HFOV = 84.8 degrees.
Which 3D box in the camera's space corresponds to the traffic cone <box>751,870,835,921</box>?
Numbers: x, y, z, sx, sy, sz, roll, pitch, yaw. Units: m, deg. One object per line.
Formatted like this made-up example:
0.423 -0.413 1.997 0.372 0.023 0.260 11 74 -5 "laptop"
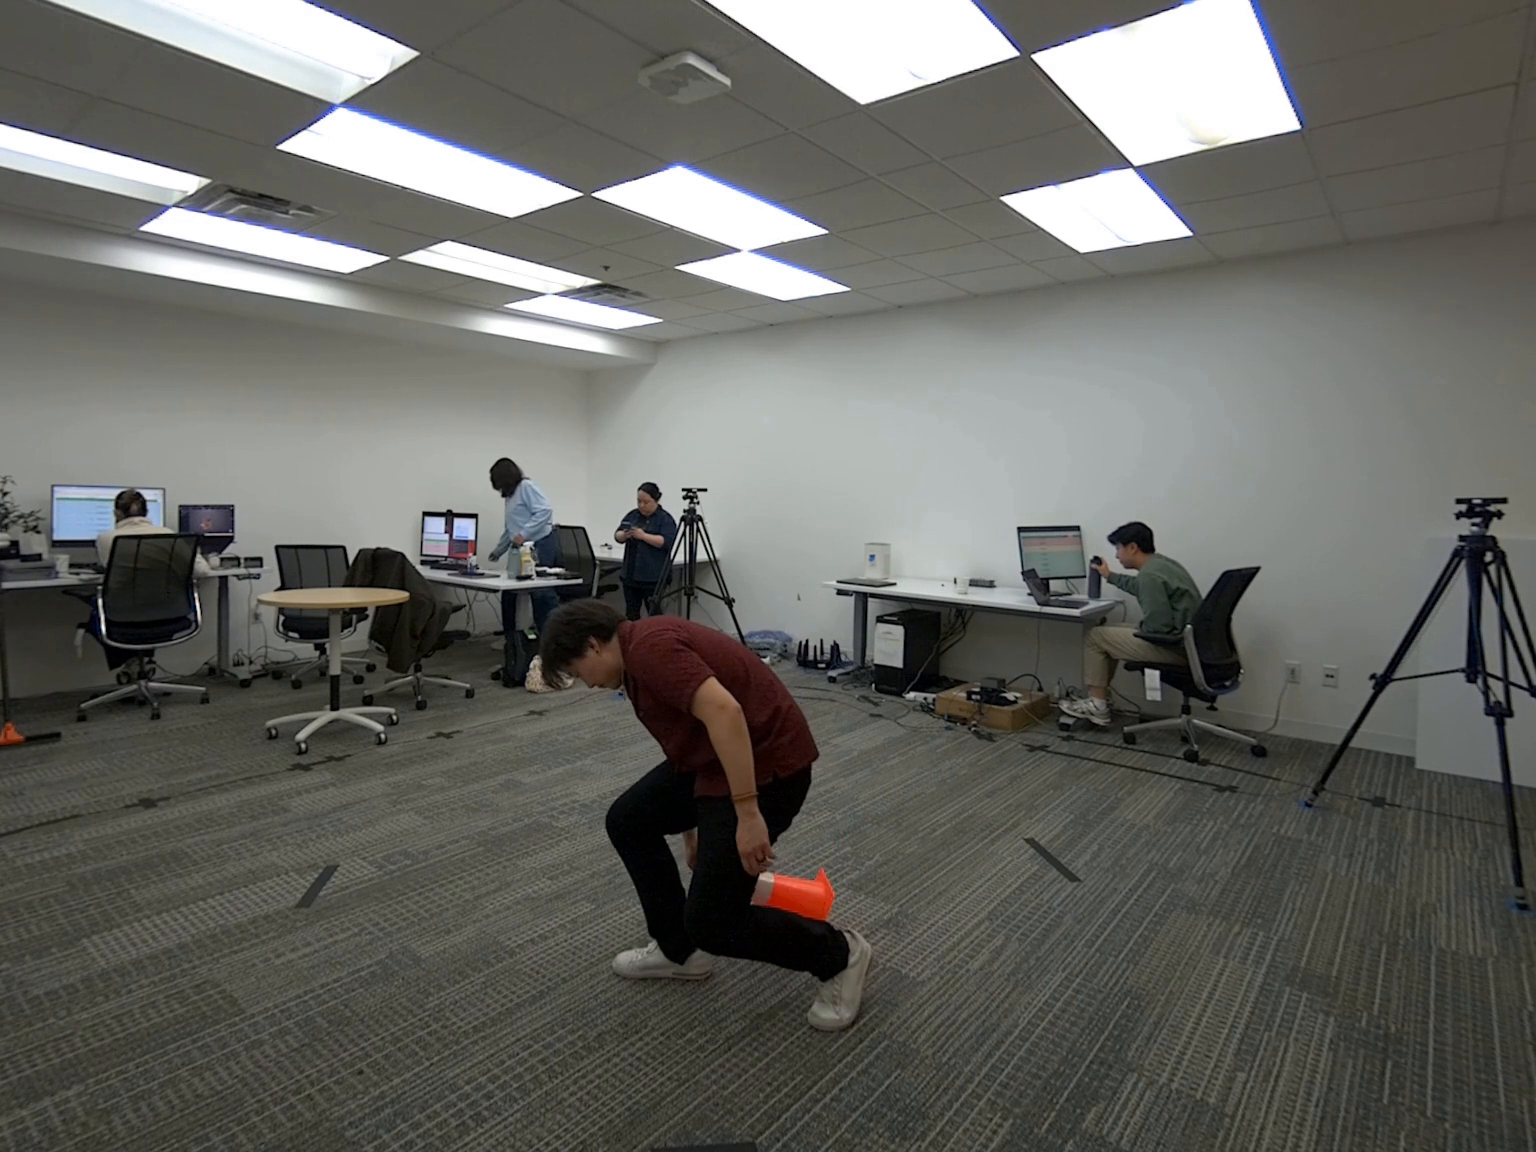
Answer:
-0.029 0.965 2.613 0.380 0.203 0.208 19 6 -8 "traffic cone"
